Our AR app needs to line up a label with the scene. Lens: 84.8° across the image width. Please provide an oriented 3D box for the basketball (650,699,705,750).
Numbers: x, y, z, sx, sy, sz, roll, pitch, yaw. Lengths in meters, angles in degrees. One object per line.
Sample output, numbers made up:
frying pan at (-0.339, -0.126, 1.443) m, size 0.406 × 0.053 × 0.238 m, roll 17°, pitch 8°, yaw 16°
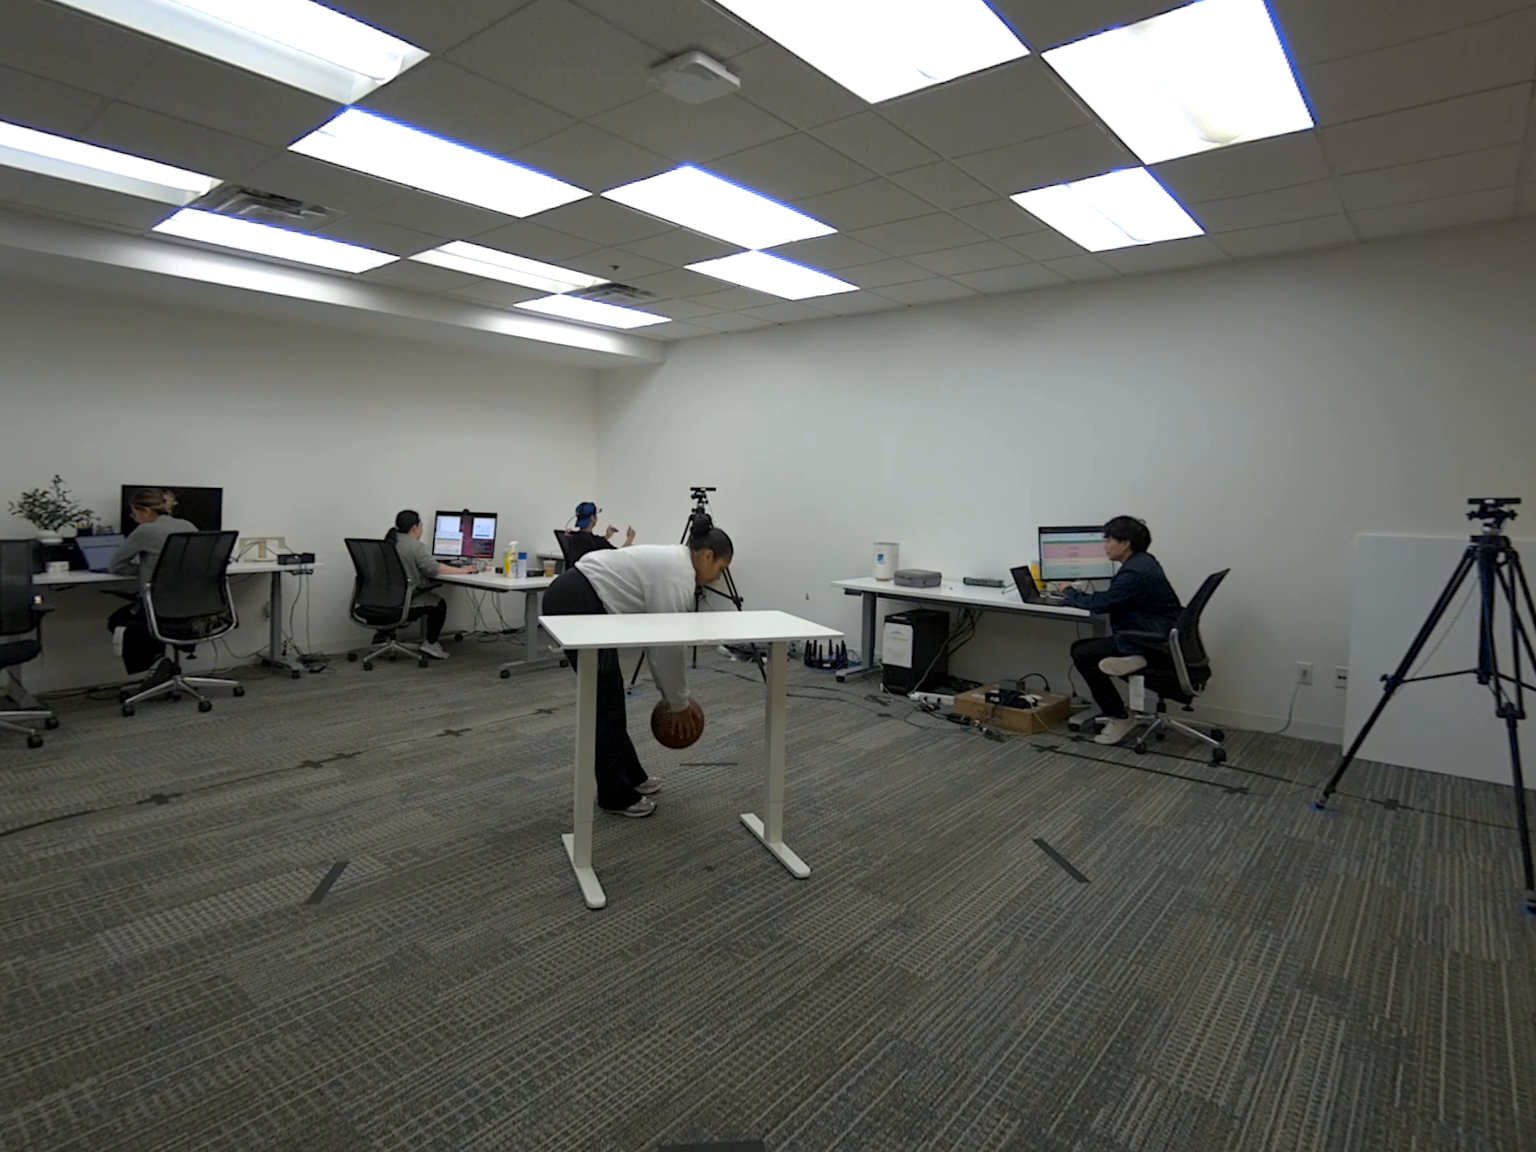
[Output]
basketball at (-0.412, 0.624, 3.745) m, size 0.235 × 0.235 × 0.237 m, roll 1°, pitch 4°, yaw -2°
